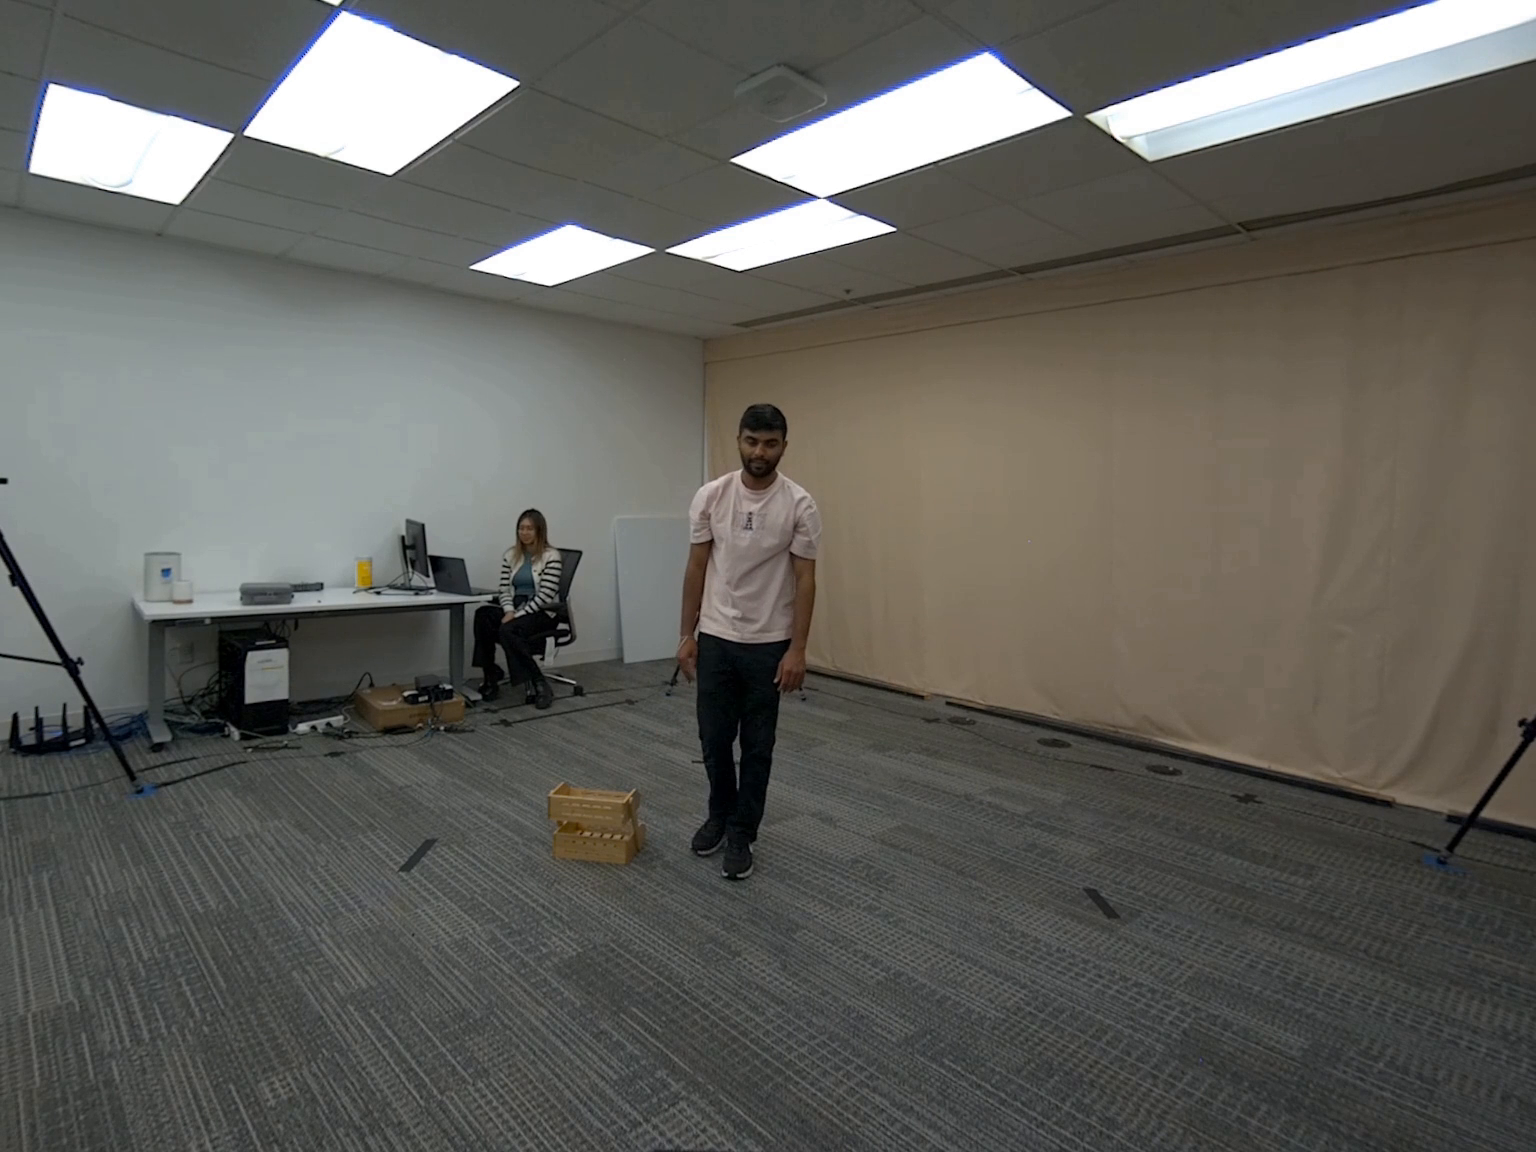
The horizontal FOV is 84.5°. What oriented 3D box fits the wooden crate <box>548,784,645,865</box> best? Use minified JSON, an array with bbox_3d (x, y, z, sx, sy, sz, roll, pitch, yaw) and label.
[{"bbox_3d":[-0.663,0.938,3.293,0.327,0.272,0.301,2,5,9],"label":"wooden crate"}]
